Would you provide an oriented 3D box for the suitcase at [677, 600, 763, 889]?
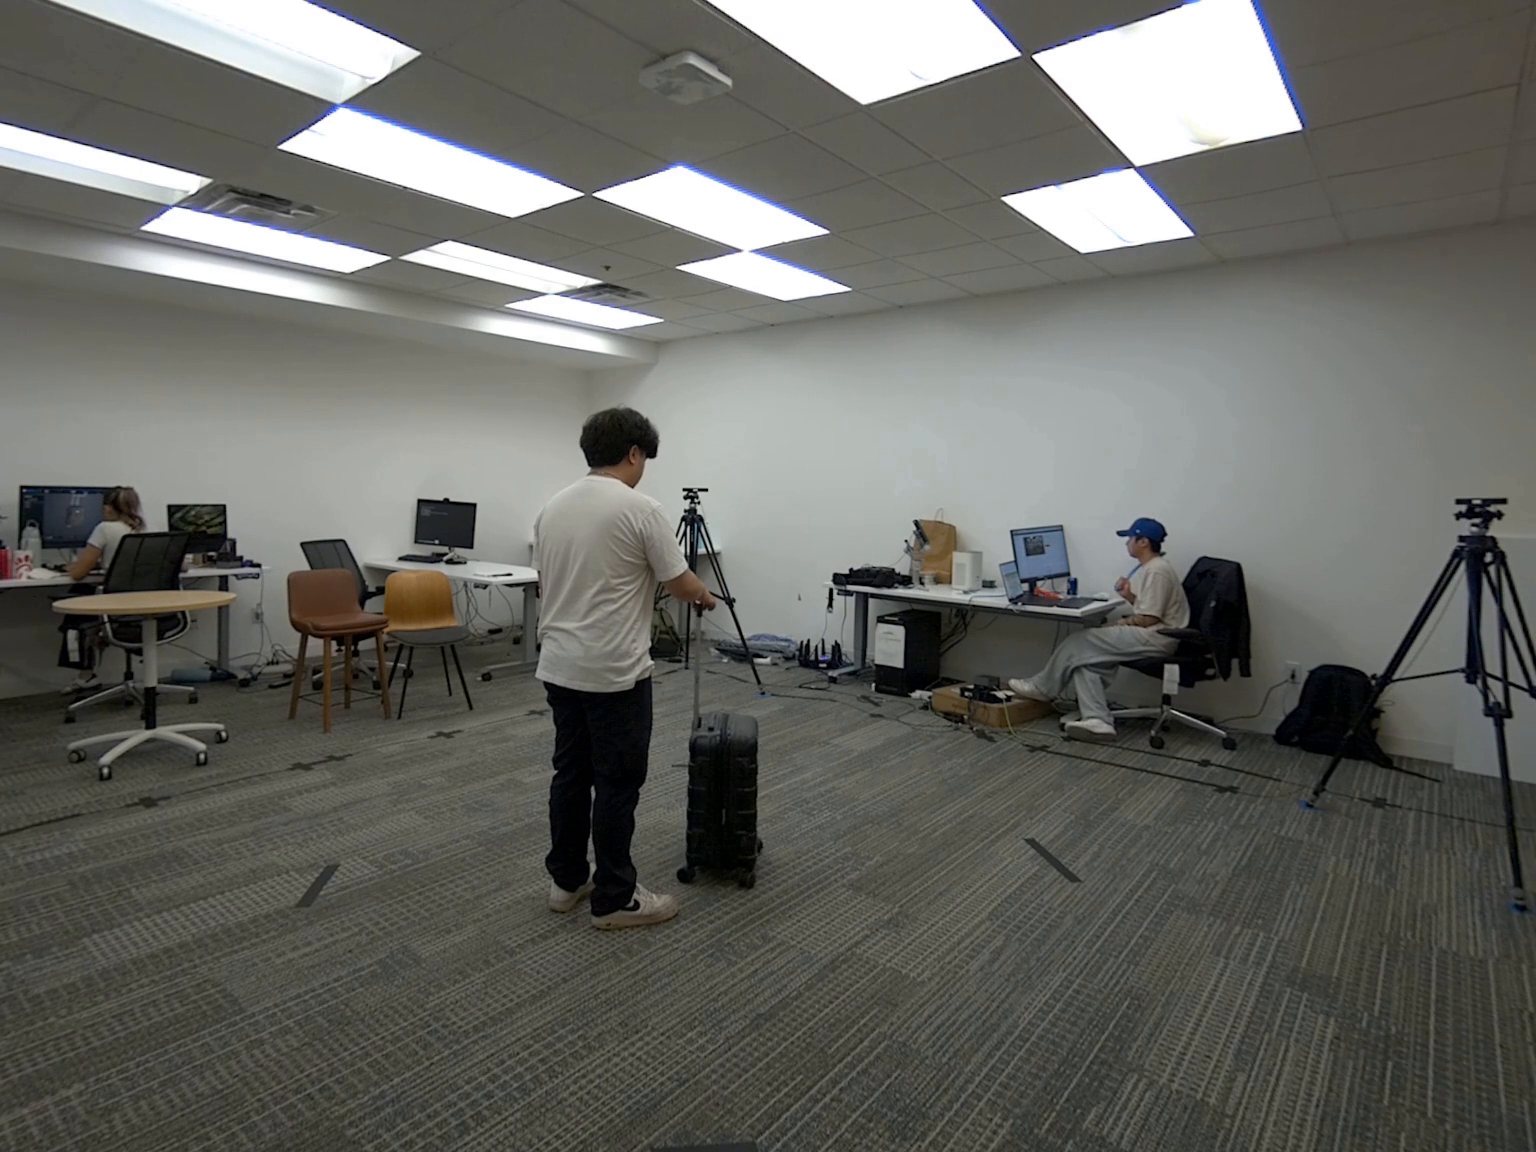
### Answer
[{"bbox_3d":[-0.167,0.598,3.119,0.257,0.975,0.385,2,4,0],"label":"suitcase"}]
